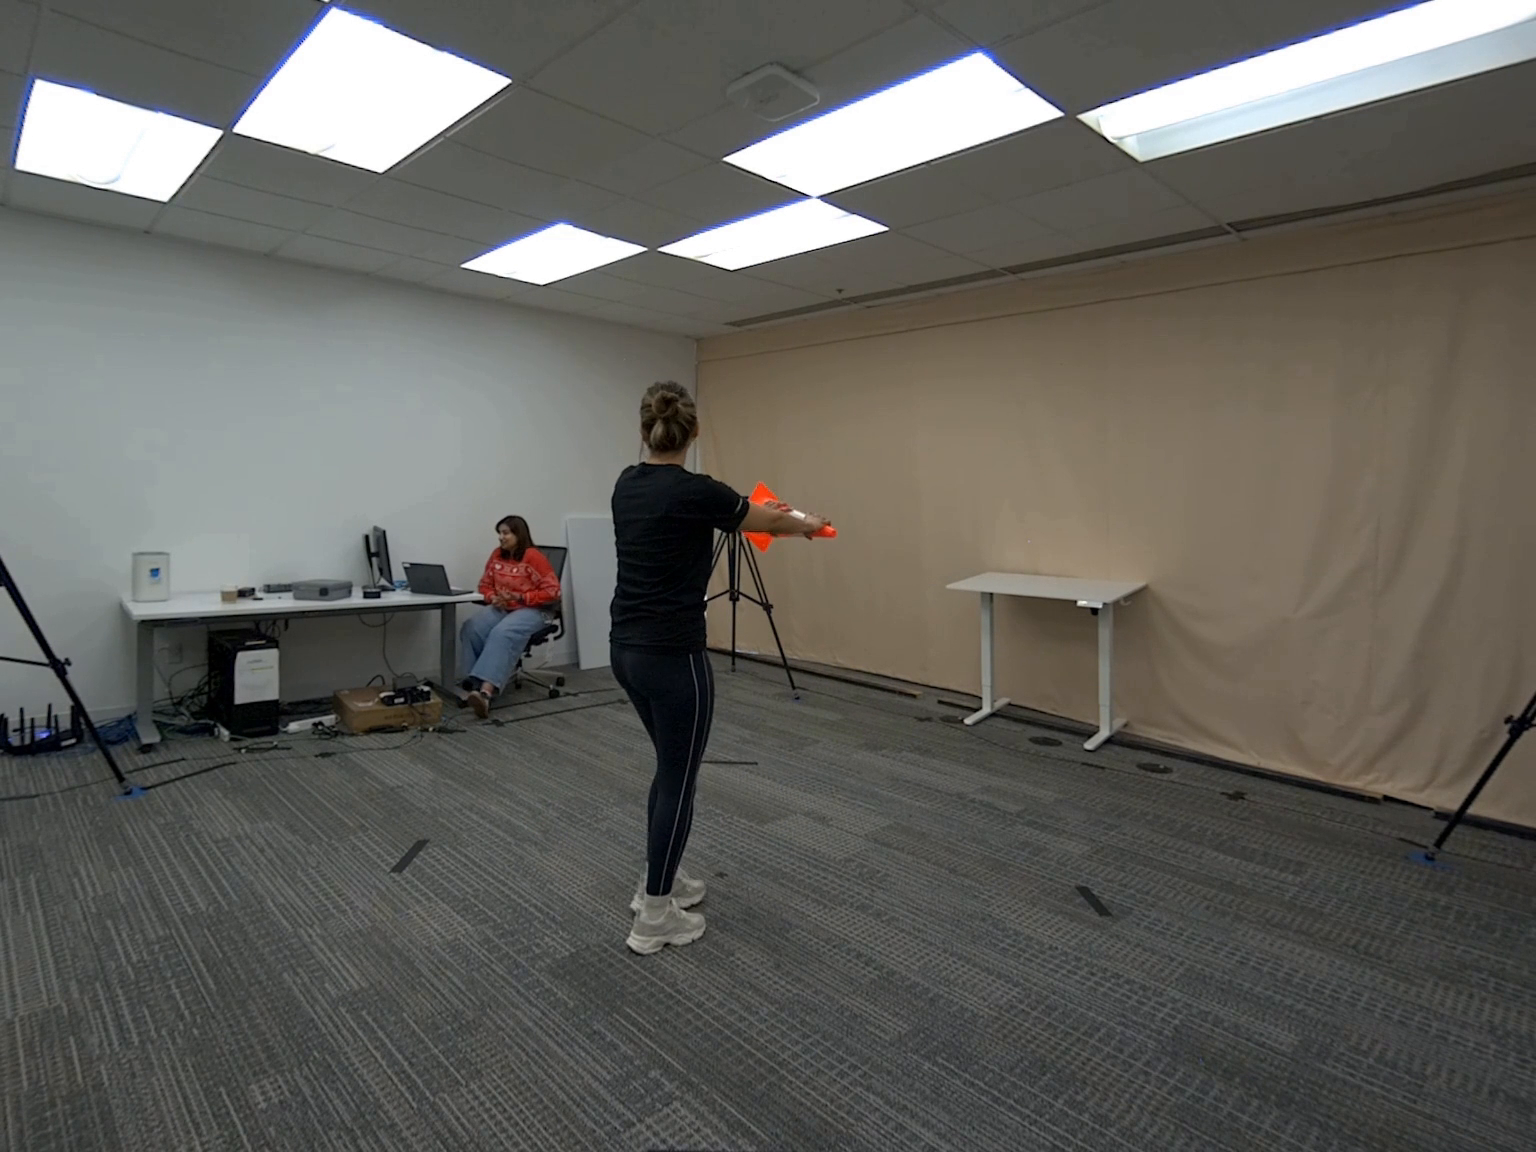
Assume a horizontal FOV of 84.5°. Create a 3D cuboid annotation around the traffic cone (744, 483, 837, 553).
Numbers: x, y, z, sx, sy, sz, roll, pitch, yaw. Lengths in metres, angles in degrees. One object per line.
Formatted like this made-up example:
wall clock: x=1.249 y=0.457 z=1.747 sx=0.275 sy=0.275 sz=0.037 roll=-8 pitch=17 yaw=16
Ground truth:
traffic cone: x=0.090 y=-0.179 z=3.014 sx=0.395 sy=0.205 sz=0.197 roll=17 pitch=-20 yaw=50
